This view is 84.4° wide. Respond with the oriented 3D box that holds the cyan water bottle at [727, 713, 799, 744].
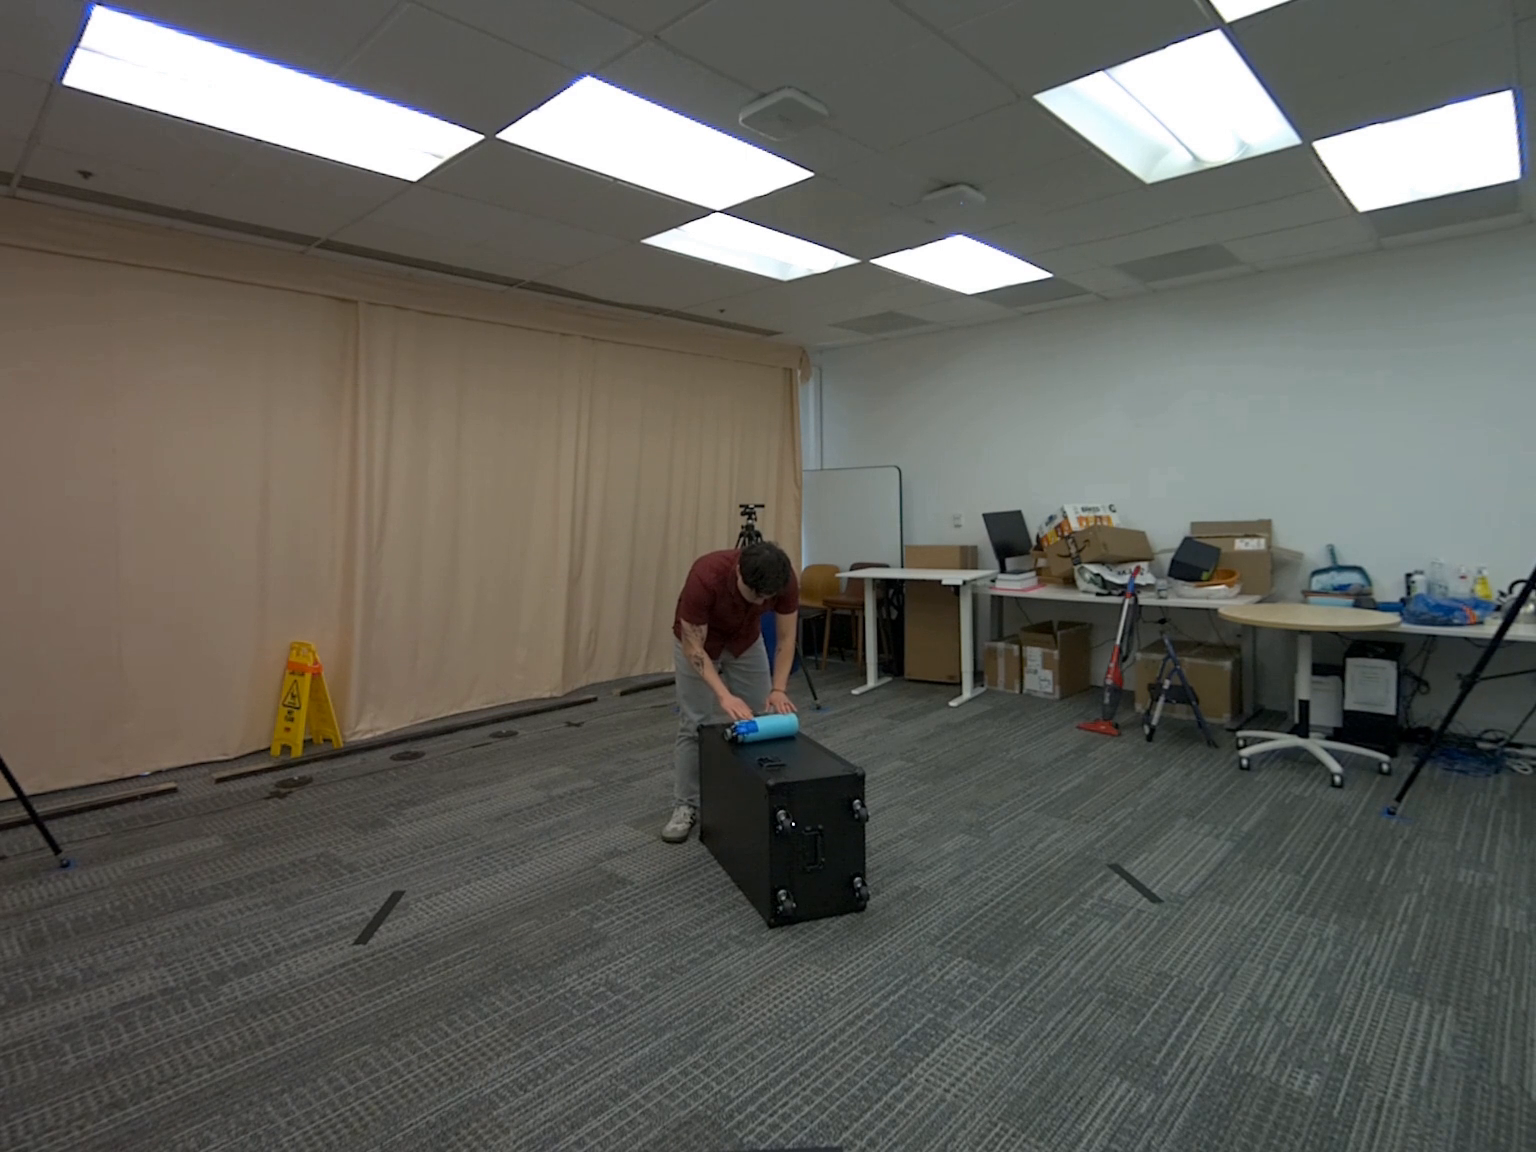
[{"bbox_3d":[-0.020,0.583,3.248,0.277,0.092,0.094,-3,4,-23],"label":"cyan water bottle"}]
